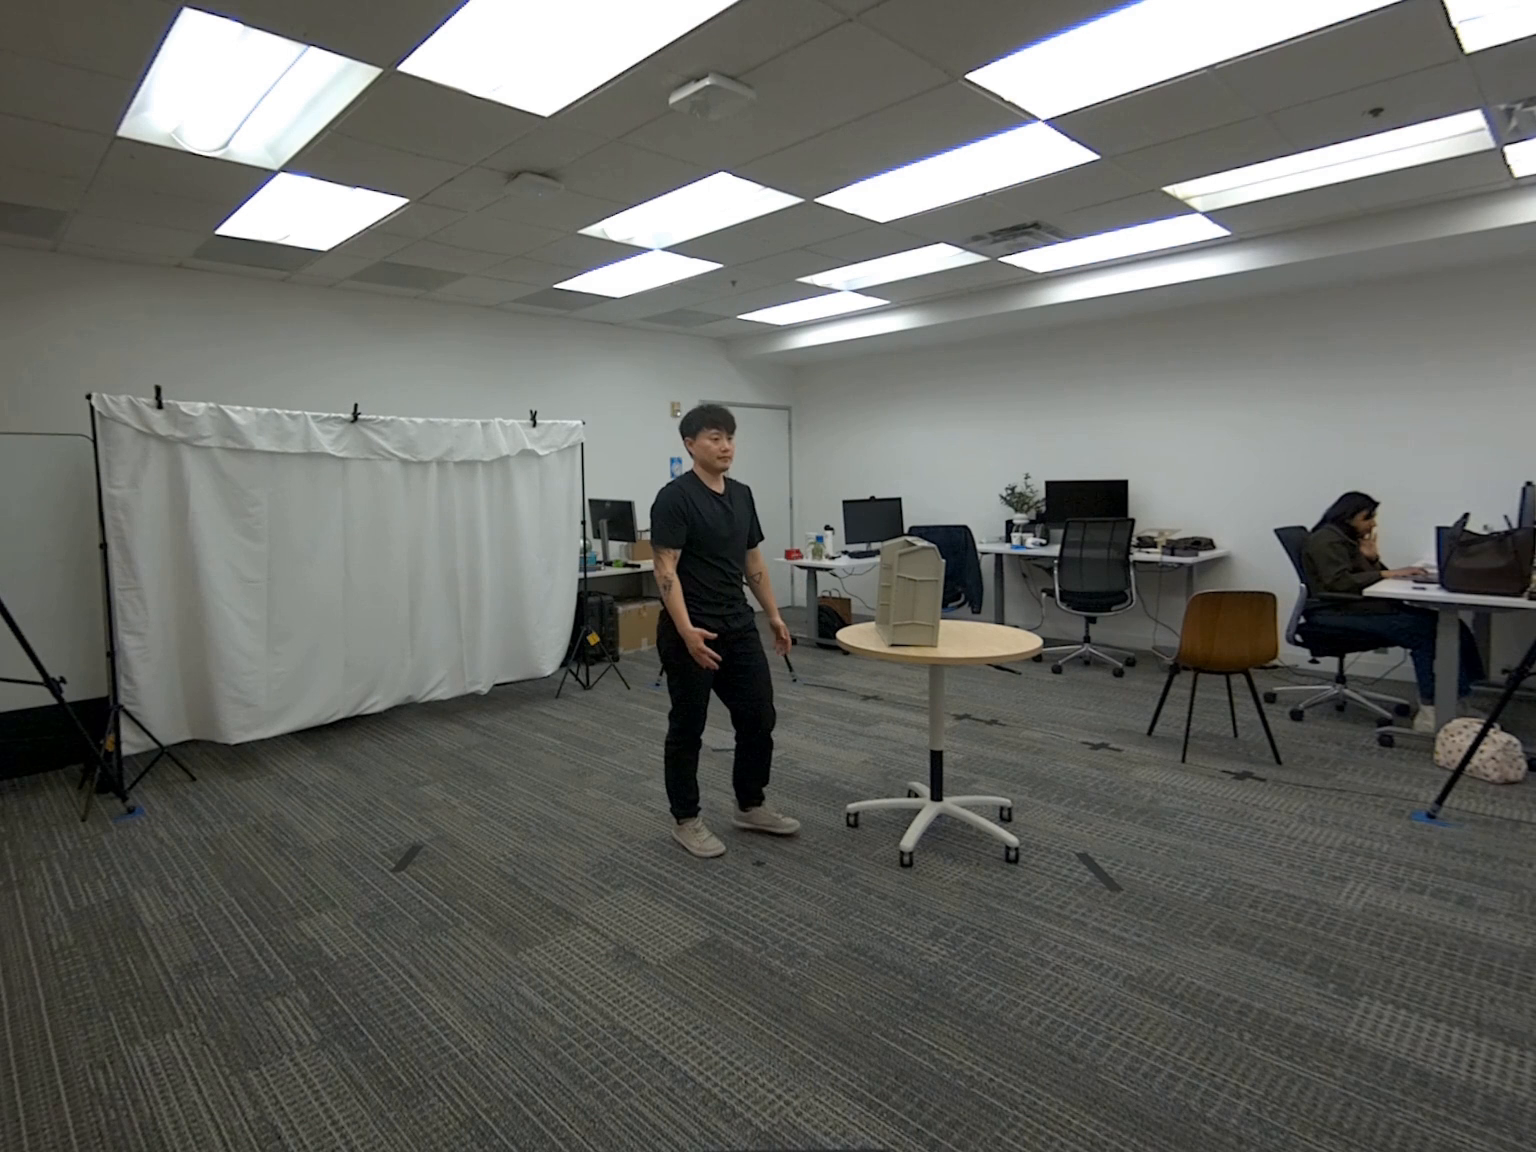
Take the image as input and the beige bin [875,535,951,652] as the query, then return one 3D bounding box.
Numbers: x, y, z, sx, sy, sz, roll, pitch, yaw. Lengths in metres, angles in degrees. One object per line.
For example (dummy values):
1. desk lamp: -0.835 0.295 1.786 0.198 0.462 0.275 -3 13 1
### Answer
1. beige bin: 0.540 0.051 3.258 0.189 0.376 0.423 2 5 0
